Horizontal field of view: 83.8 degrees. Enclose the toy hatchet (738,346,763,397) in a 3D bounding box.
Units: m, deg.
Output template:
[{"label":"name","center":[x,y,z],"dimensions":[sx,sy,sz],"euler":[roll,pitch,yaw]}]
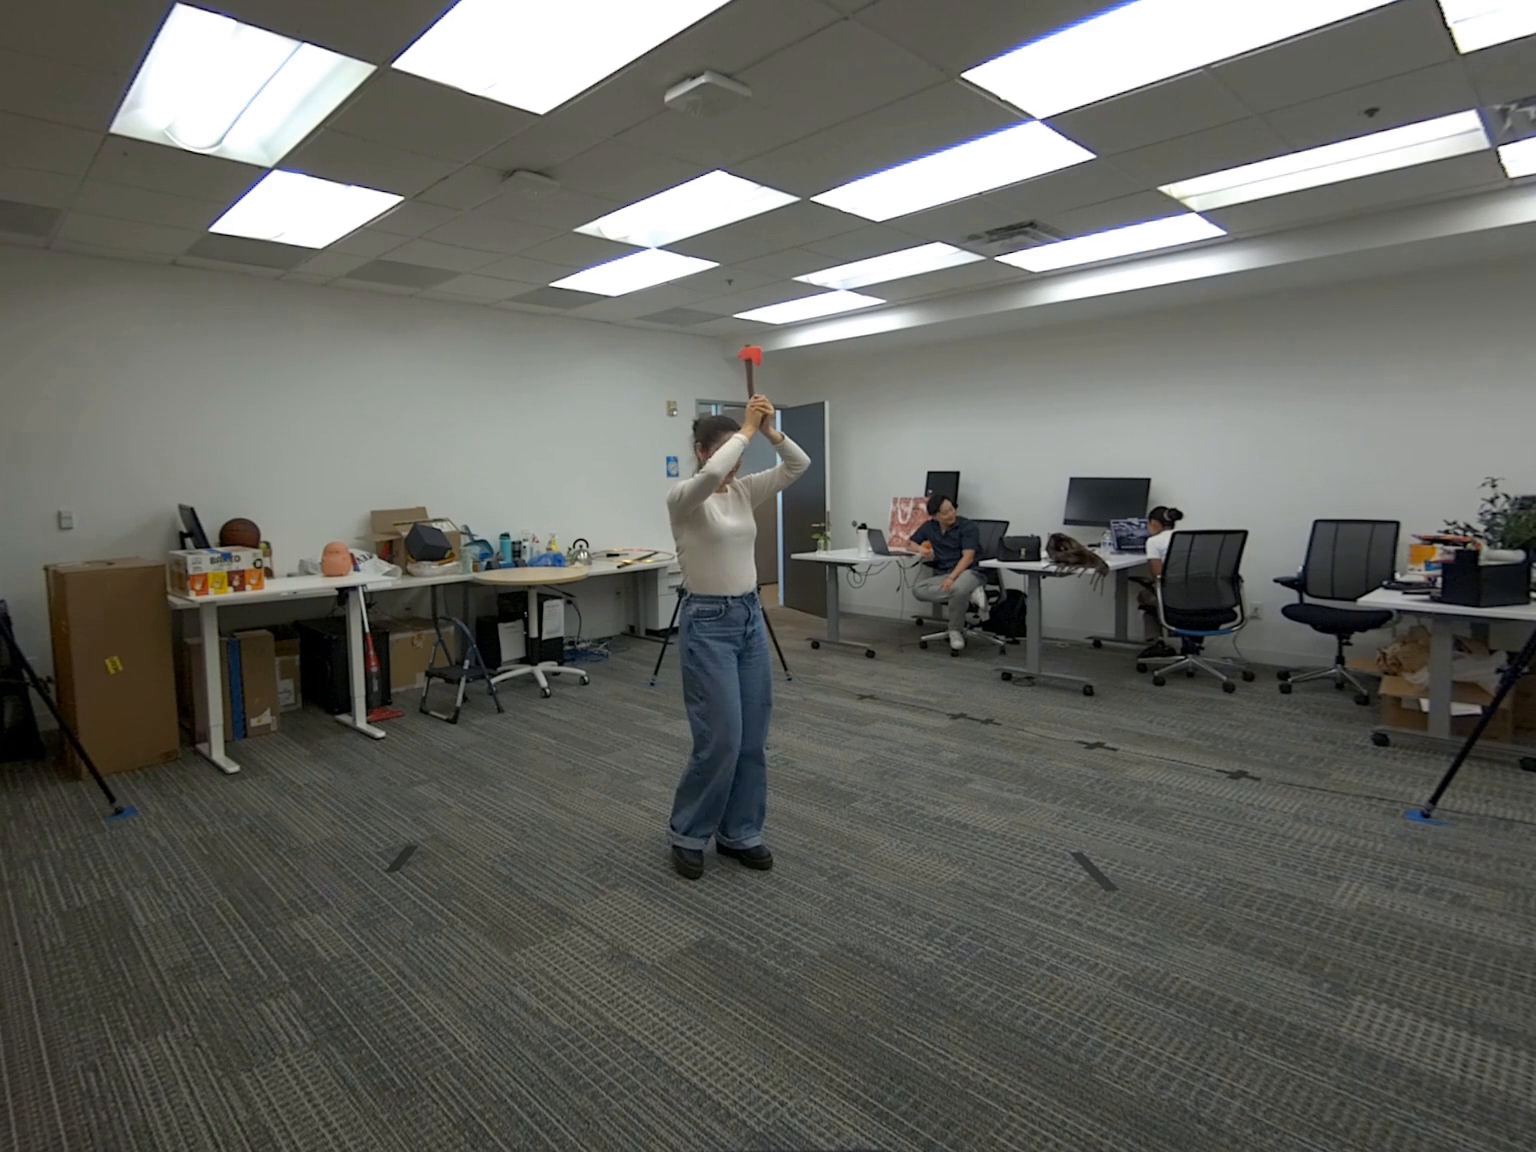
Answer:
[{"label":"toy hatchet","center":[-0.039,-0.670,2.918],"dimensions":[0.029,0.273,0.133],"euler":[-7,-13,-41]}]
